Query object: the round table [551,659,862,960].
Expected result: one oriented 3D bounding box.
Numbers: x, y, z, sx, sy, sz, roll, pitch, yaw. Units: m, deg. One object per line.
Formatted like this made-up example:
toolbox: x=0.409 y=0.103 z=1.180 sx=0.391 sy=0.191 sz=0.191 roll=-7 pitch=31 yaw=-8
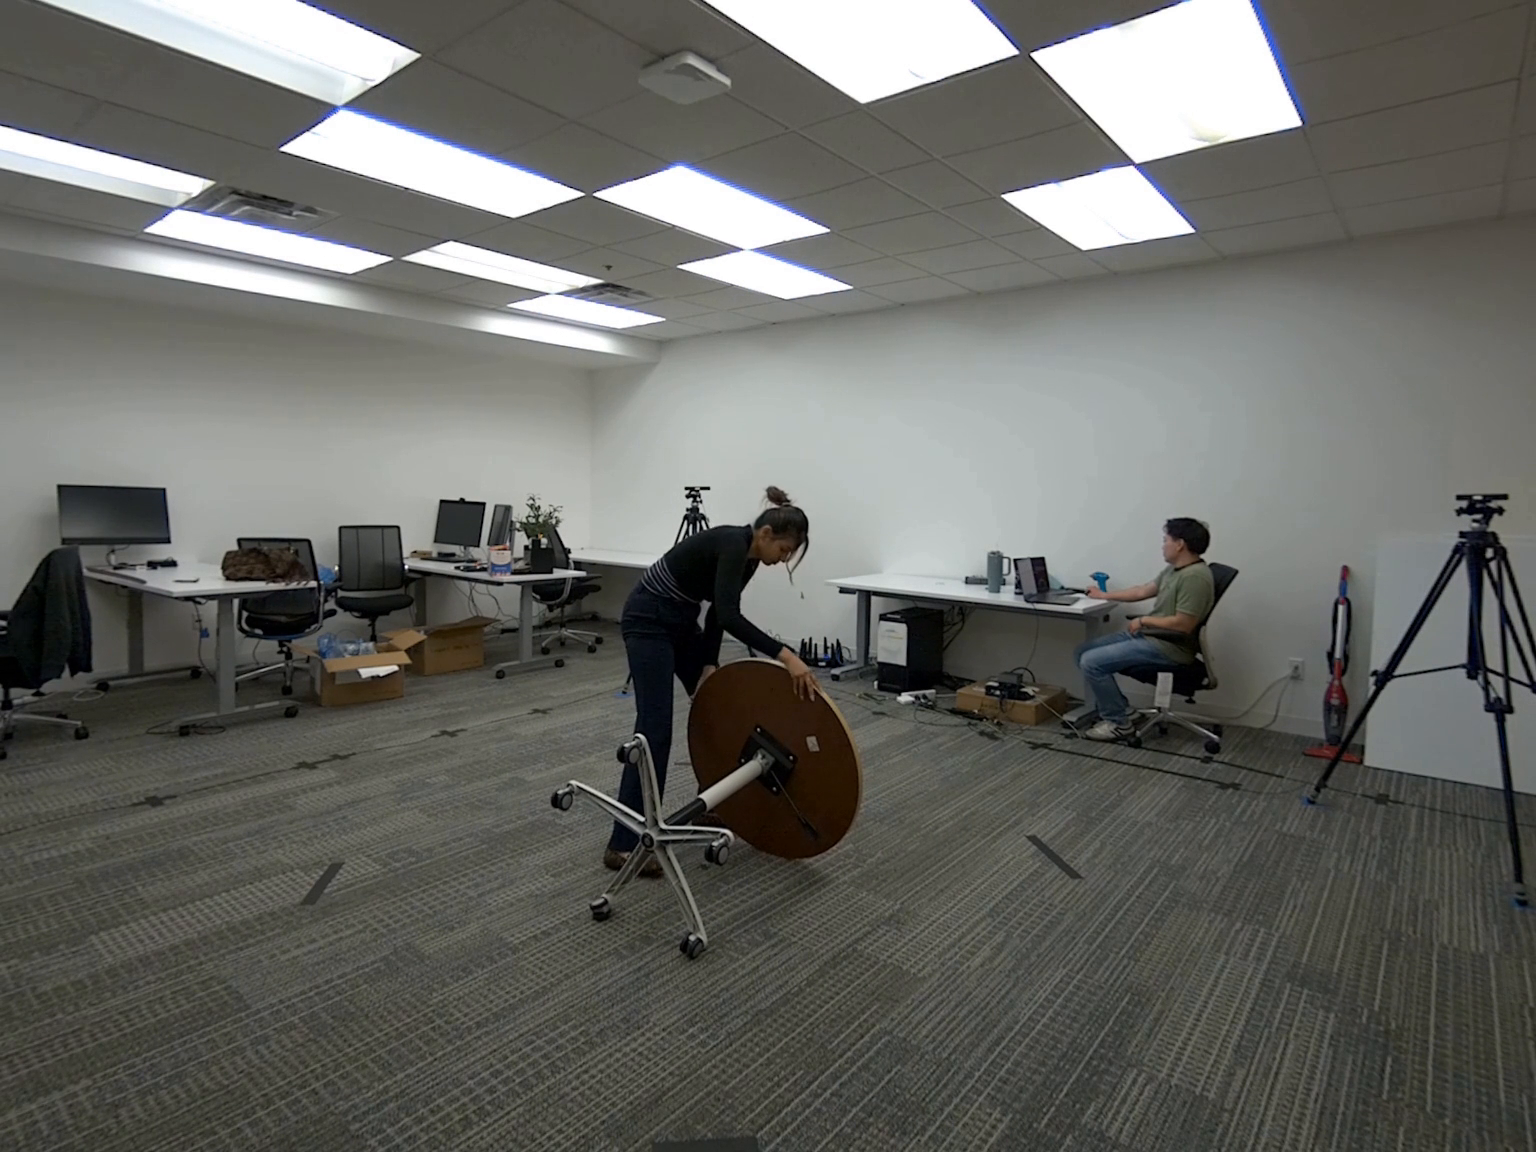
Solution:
round table: x=-0.215 y=0.758 z=2.882 sx=0.788 sy=0.756 sz=0.777 roll=4 pitch=12 yaw=35
